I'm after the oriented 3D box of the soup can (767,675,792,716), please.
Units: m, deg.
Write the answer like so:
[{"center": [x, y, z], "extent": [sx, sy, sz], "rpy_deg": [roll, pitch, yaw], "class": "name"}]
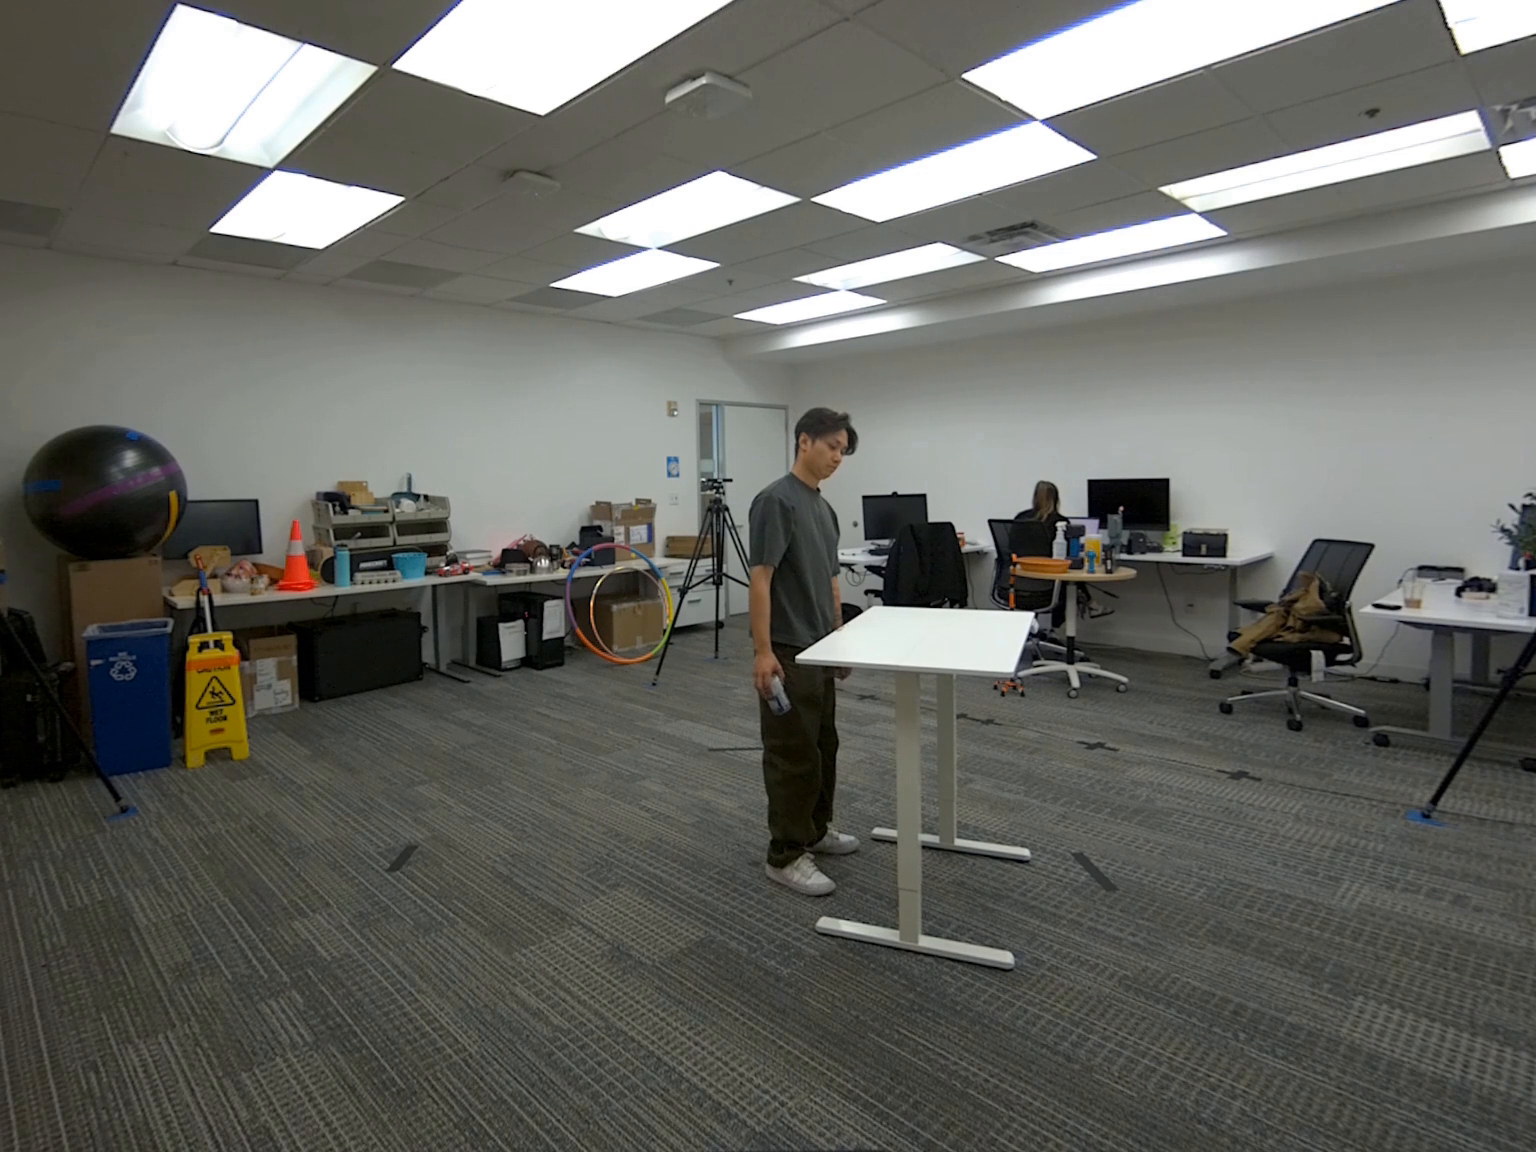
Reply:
[{"center": [0.024, 0.400, 2.849], "extent": [0.067, 0.121, 0.067], "rpy_deg": [-22, 3, 0], "class": "soup can"}]
